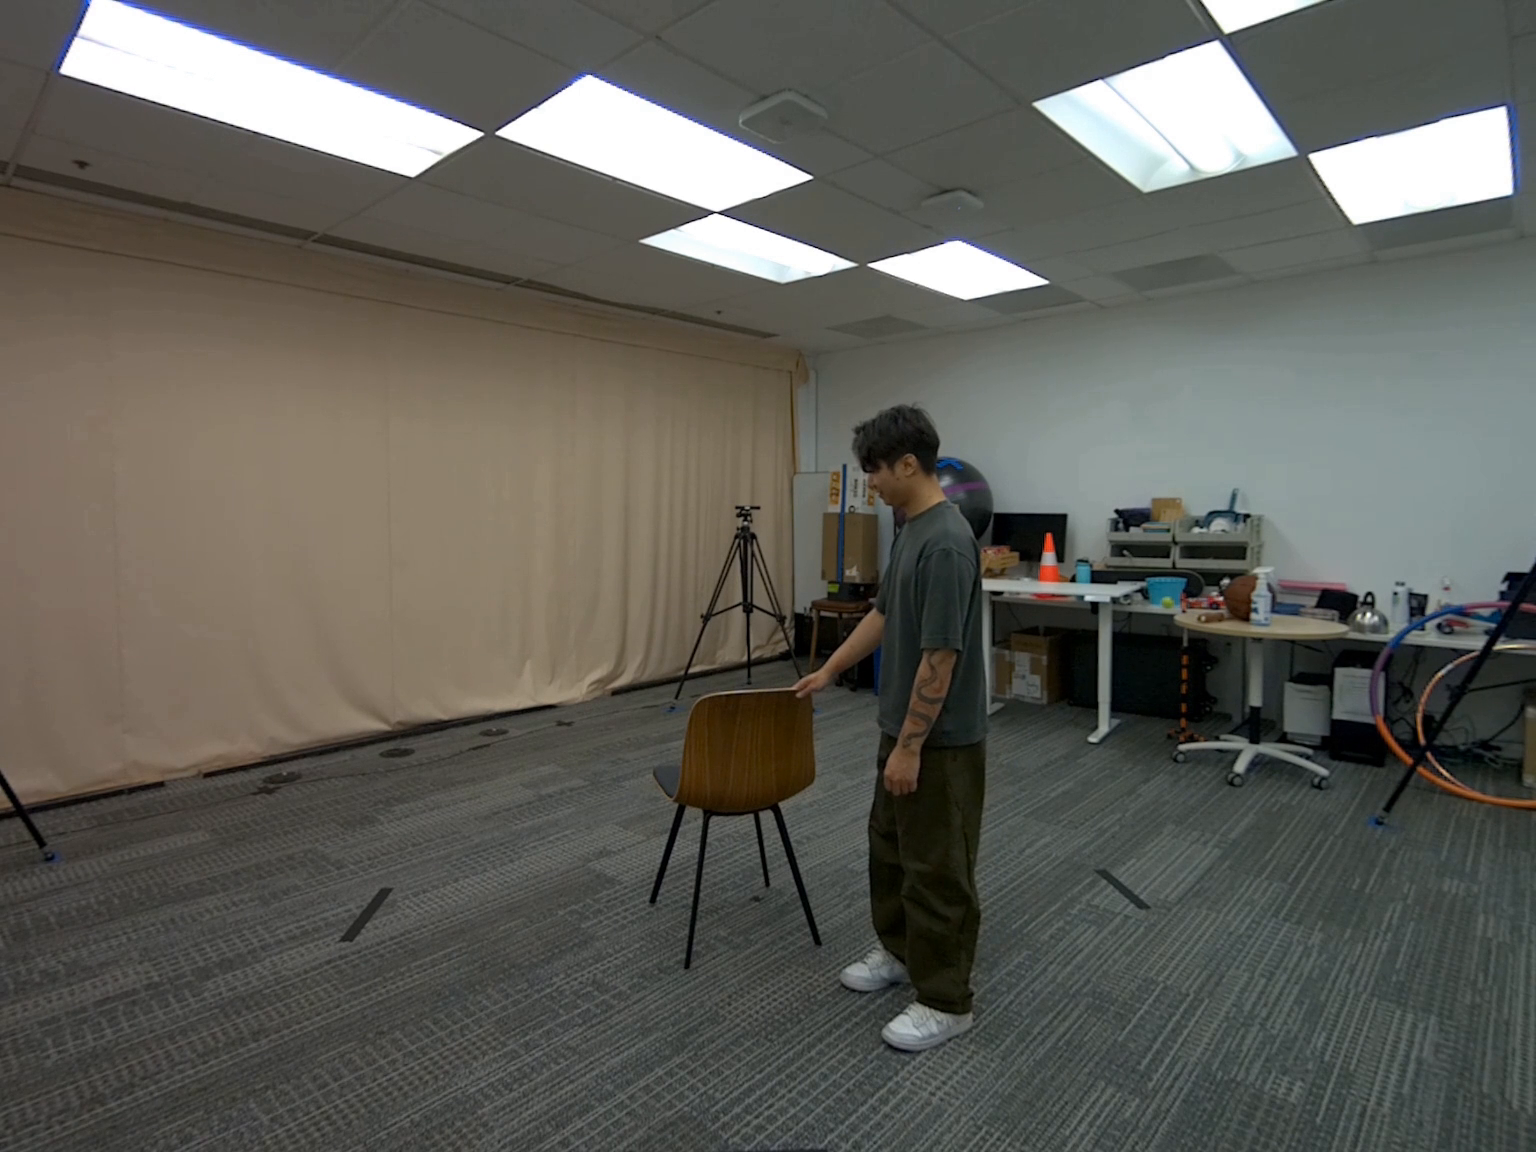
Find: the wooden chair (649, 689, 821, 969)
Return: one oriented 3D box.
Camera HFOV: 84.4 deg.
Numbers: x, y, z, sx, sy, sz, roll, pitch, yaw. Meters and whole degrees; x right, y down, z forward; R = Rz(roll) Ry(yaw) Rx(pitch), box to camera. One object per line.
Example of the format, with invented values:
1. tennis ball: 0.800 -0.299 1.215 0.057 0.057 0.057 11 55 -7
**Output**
1. wooden chair: -0.121 0.733 2.788 0.469 0.873 0.536 -2 8 -20
